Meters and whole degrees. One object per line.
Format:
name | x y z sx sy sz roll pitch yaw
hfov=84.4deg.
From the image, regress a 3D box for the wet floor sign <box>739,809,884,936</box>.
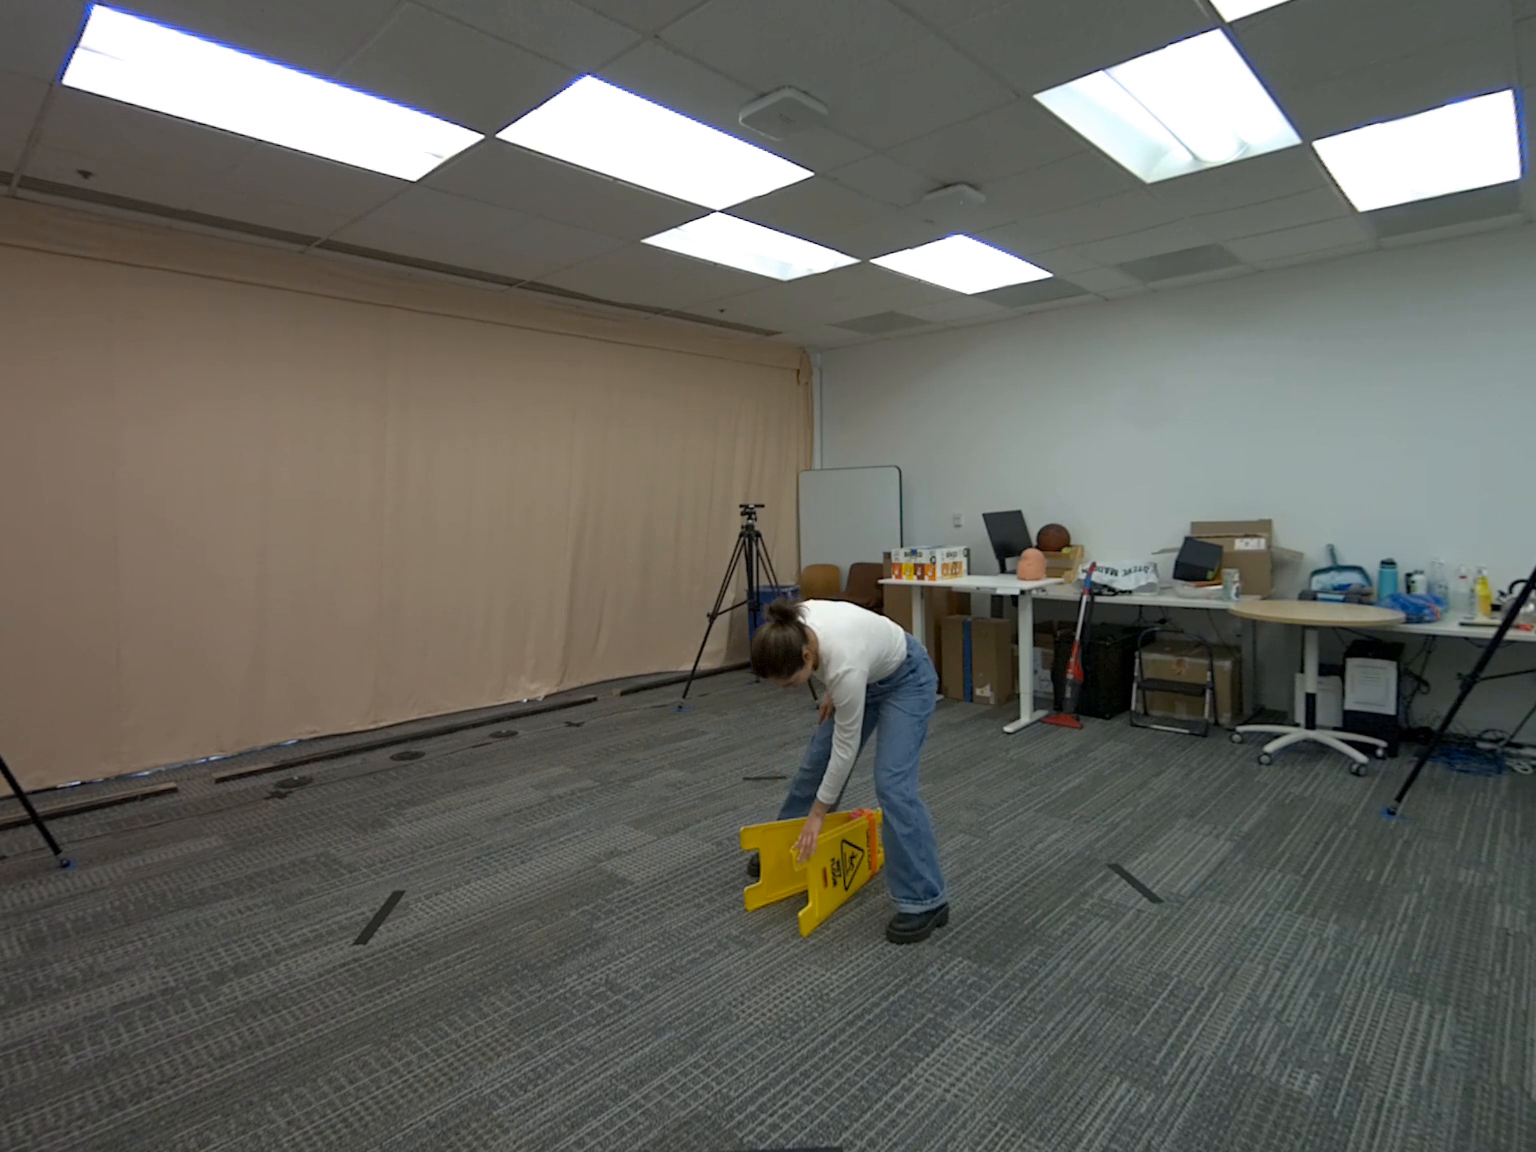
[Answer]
wet floor sign | 0.230 1.003 3.020 0.626 0.282 0.299 -3 2 -44
